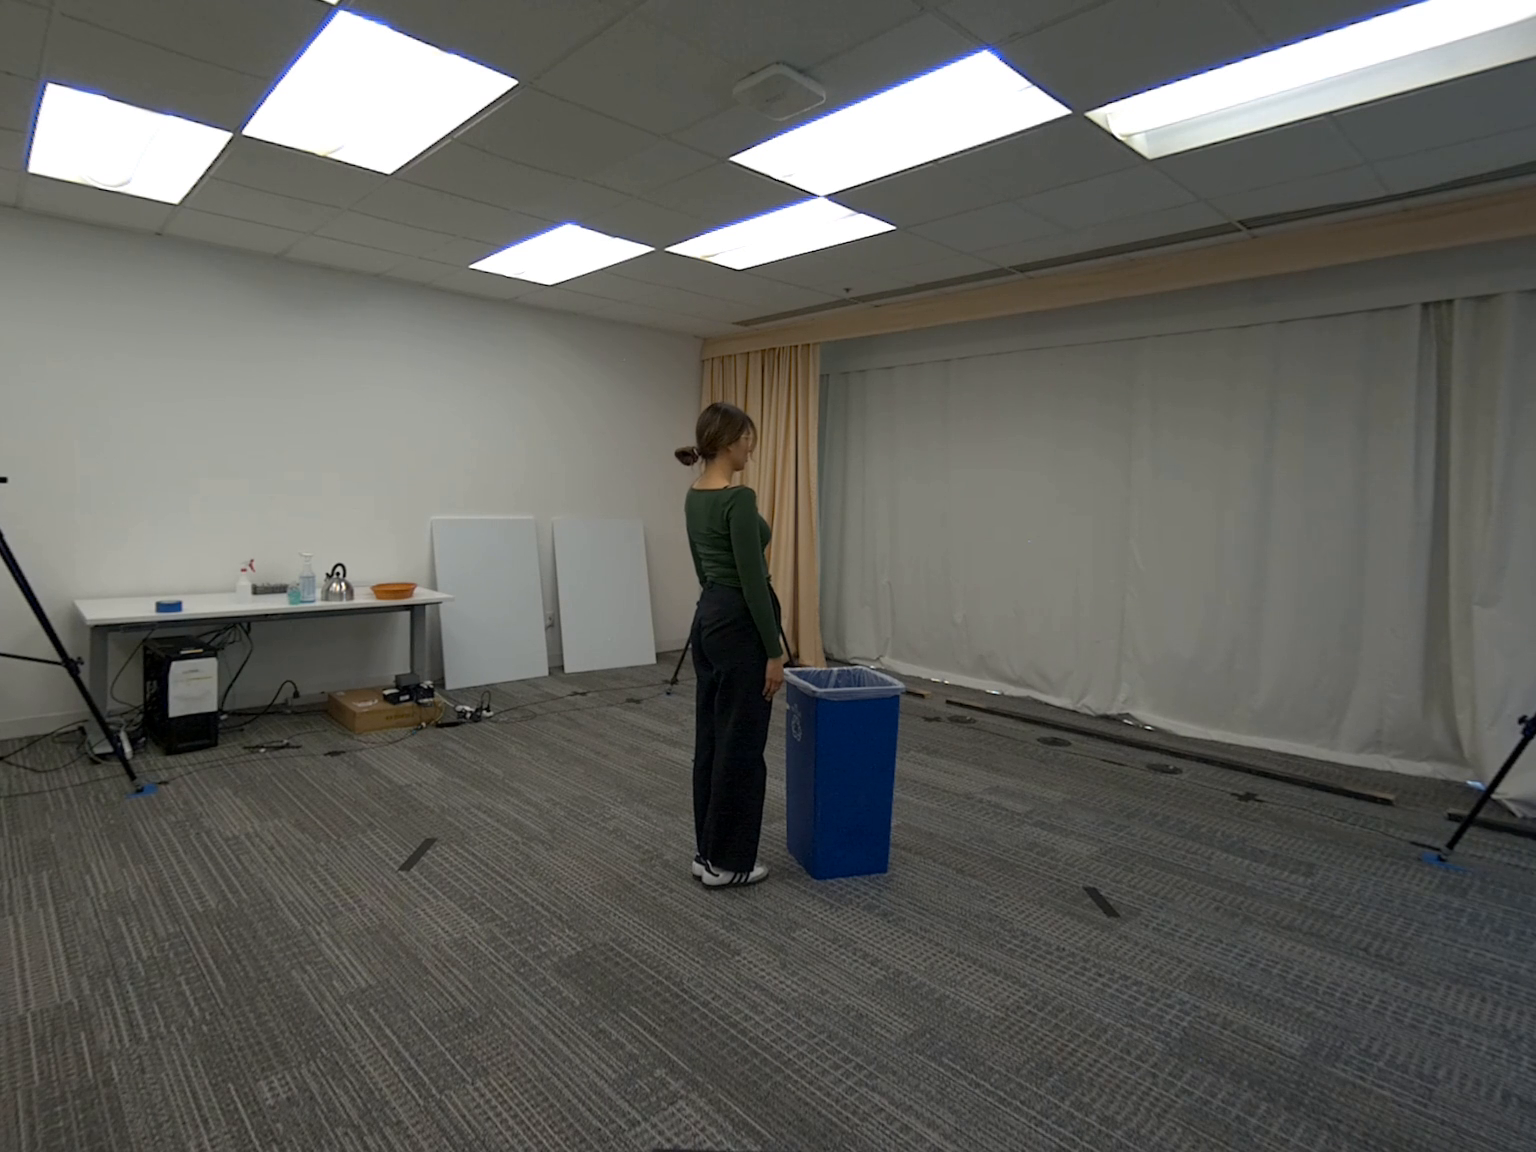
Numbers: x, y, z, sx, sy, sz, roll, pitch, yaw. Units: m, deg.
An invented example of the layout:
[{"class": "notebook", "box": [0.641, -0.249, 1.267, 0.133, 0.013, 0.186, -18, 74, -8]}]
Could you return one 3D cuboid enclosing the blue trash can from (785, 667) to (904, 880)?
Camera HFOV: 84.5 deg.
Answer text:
[{"class": "blue trash can", "box": [0.269, 0.740, 3.236, 0.369, 0.711, 0.384, 0, 4, -18]}]
